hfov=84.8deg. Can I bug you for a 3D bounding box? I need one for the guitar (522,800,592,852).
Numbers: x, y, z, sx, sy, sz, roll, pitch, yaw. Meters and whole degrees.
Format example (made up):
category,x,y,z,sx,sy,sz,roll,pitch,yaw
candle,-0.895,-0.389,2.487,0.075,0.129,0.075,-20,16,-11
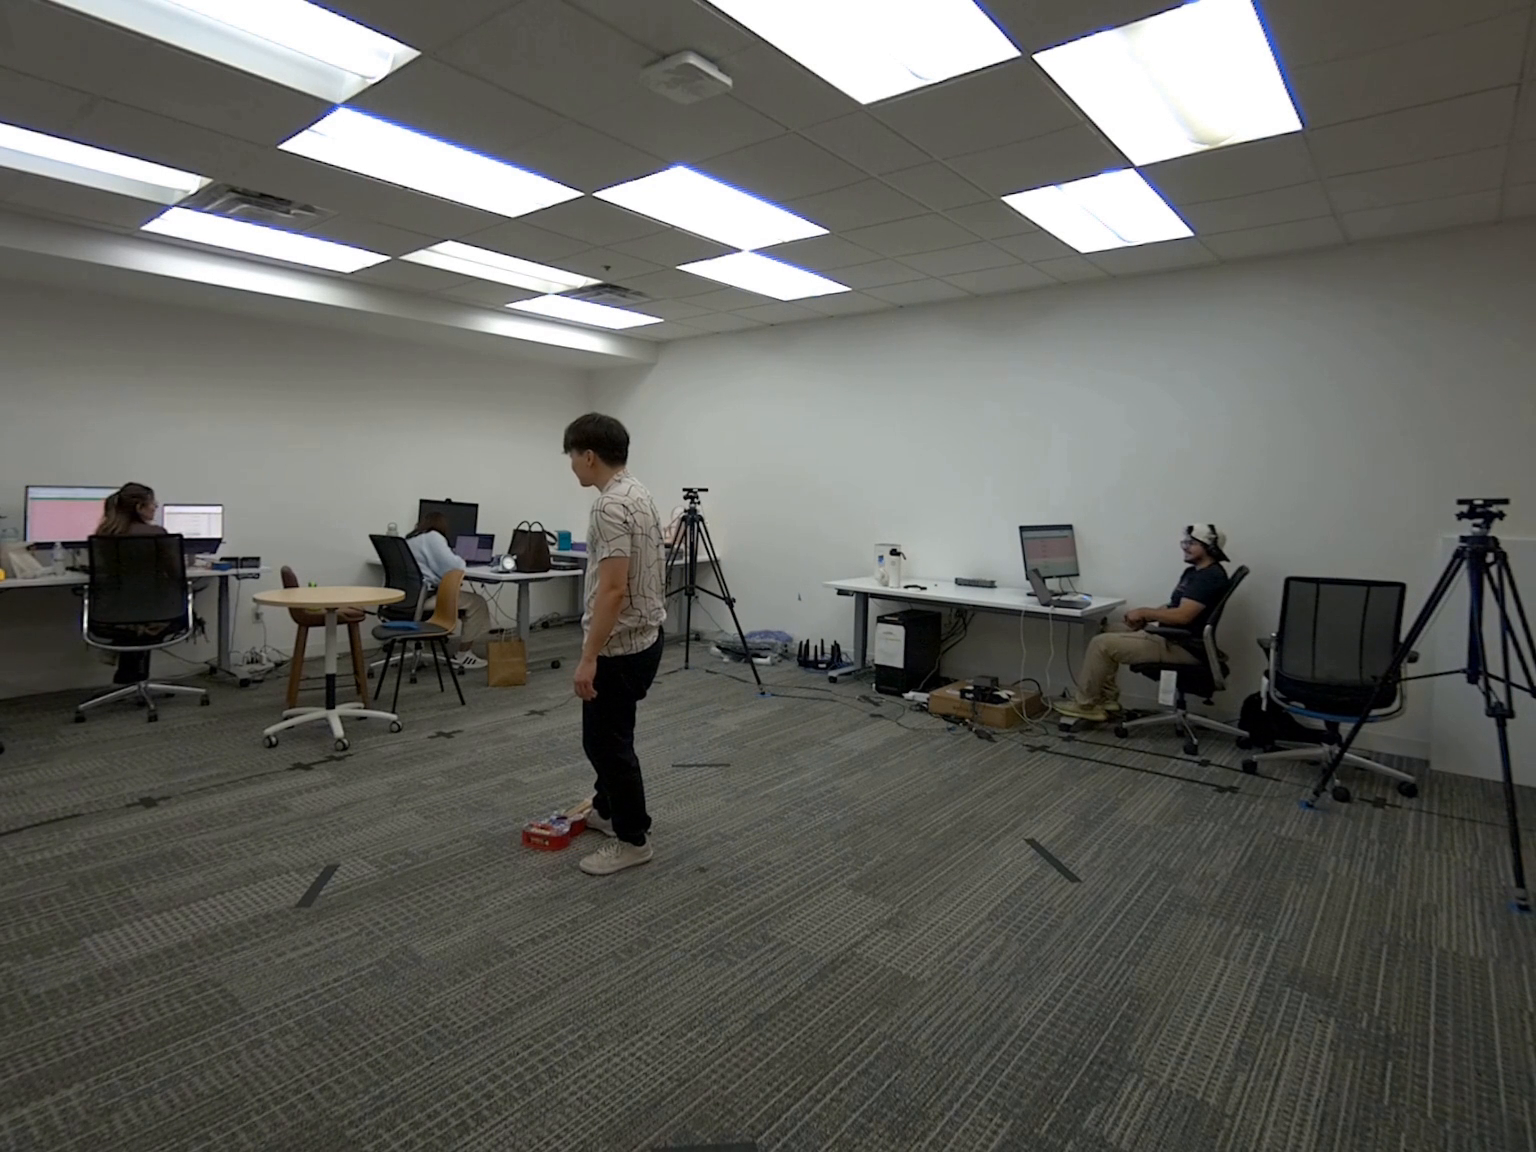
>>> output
category,x,y,z,sx,sy,sz,roll,pitch,yaw
guitar,-0.786,0.990,3.472,0.199,0.070,0.485,3,6,30
